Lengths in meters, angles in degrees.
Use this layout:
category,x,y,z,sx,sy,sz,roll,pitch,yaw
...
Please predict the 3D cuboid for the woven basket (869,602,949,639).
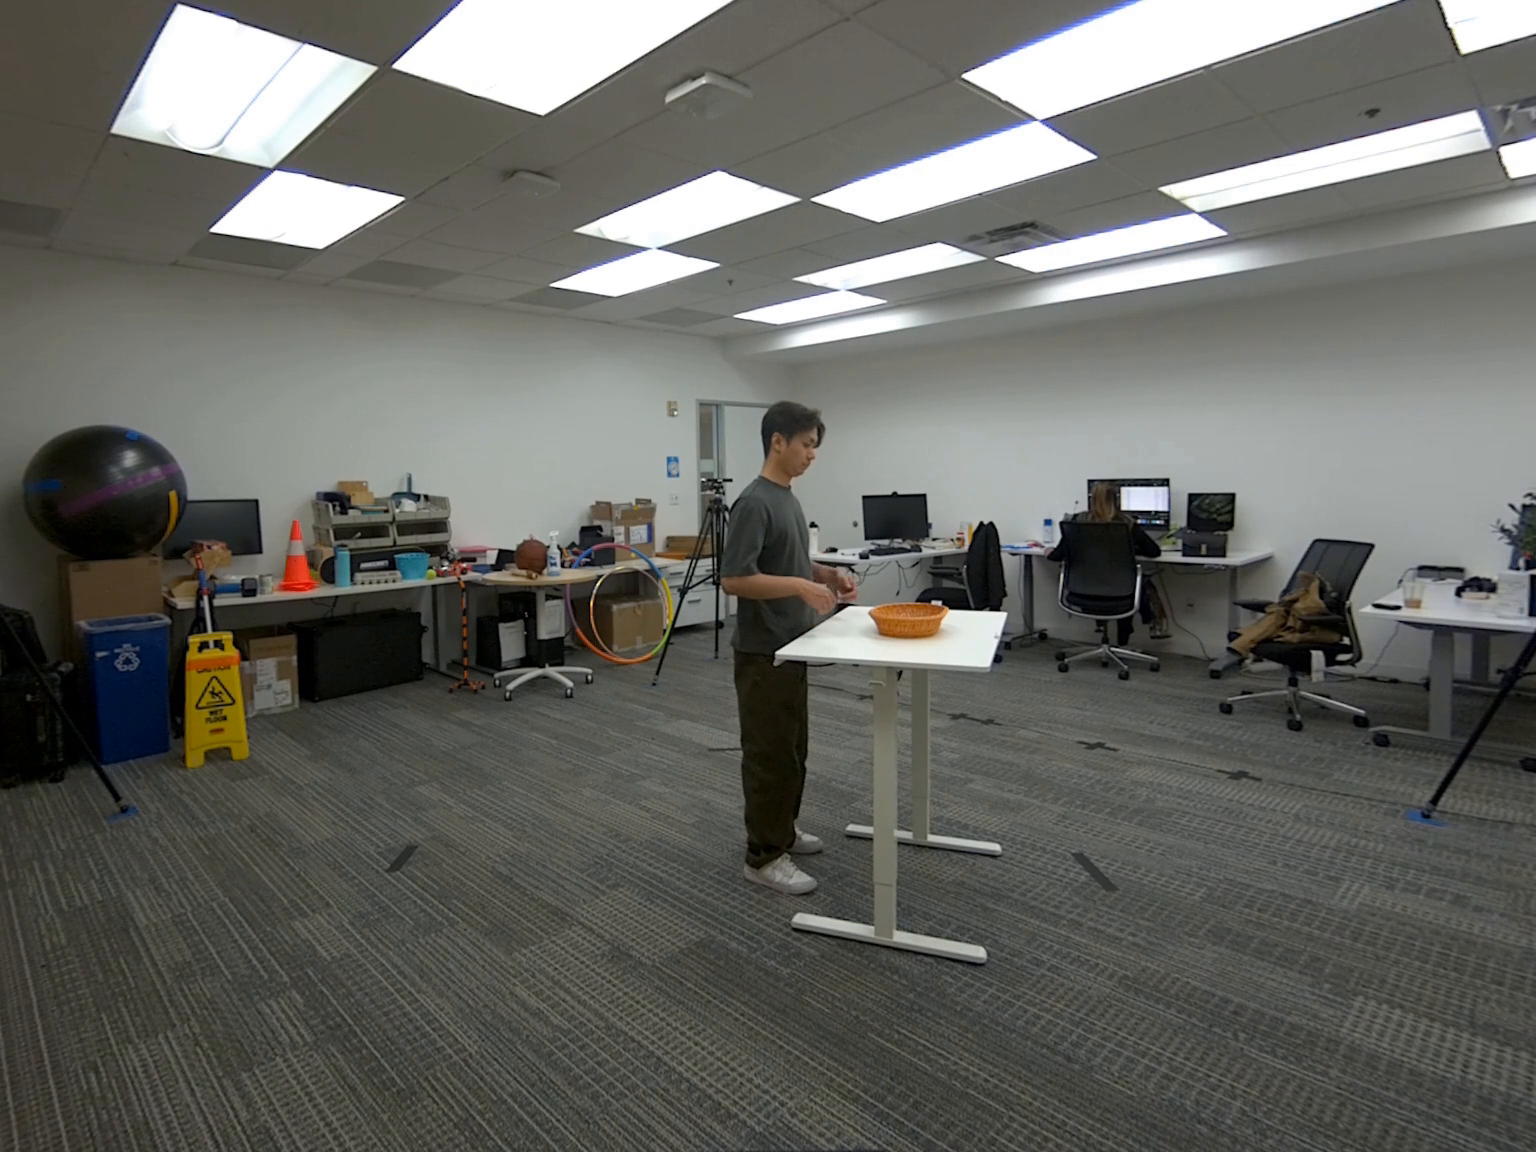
category,x,y,z,sx,sy,sz,roll,pitch,yaw
woven basket,0.473,0.152,2.838,0.257,0.073,0.345,2,6,20
